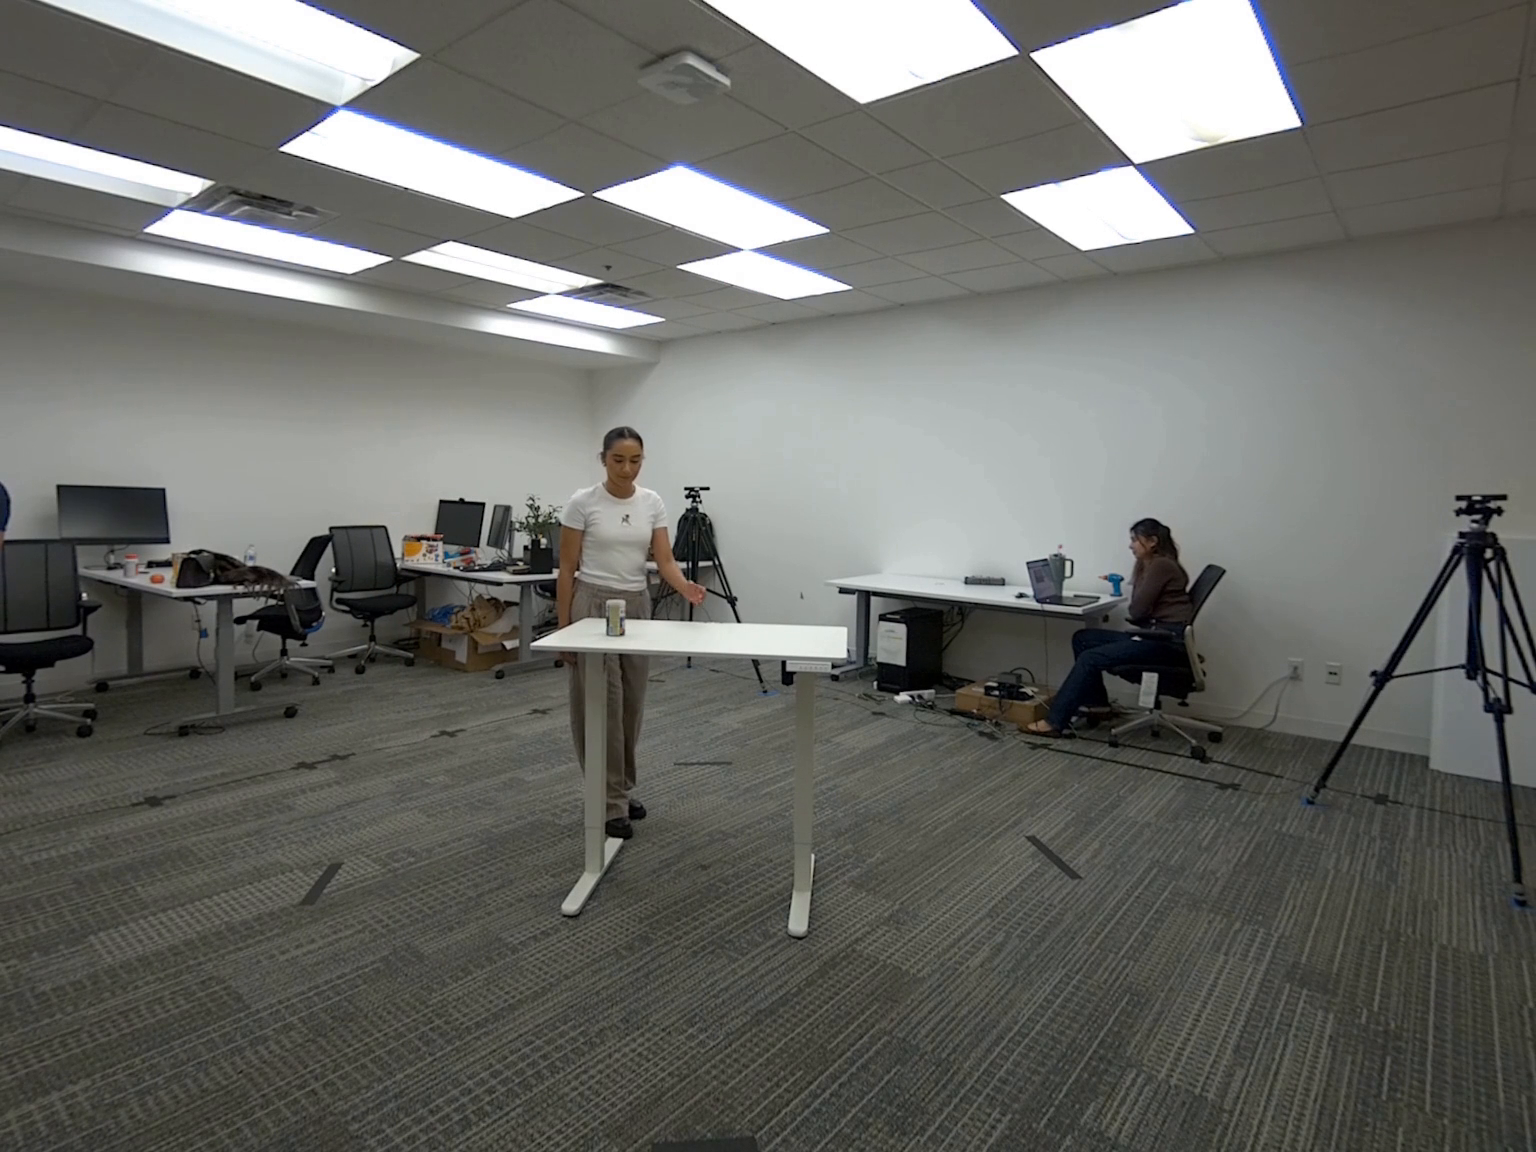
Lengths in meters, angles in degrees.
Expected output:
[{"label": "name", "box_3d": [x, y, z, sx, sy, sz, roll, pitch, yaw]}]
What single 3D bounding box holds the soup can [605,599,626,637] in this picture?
[{"label": "soup can", "box_3d": [-0.532, 0.145, 2.913, 0.067, 0.121, 0.067, 2, 3, -2]}]
